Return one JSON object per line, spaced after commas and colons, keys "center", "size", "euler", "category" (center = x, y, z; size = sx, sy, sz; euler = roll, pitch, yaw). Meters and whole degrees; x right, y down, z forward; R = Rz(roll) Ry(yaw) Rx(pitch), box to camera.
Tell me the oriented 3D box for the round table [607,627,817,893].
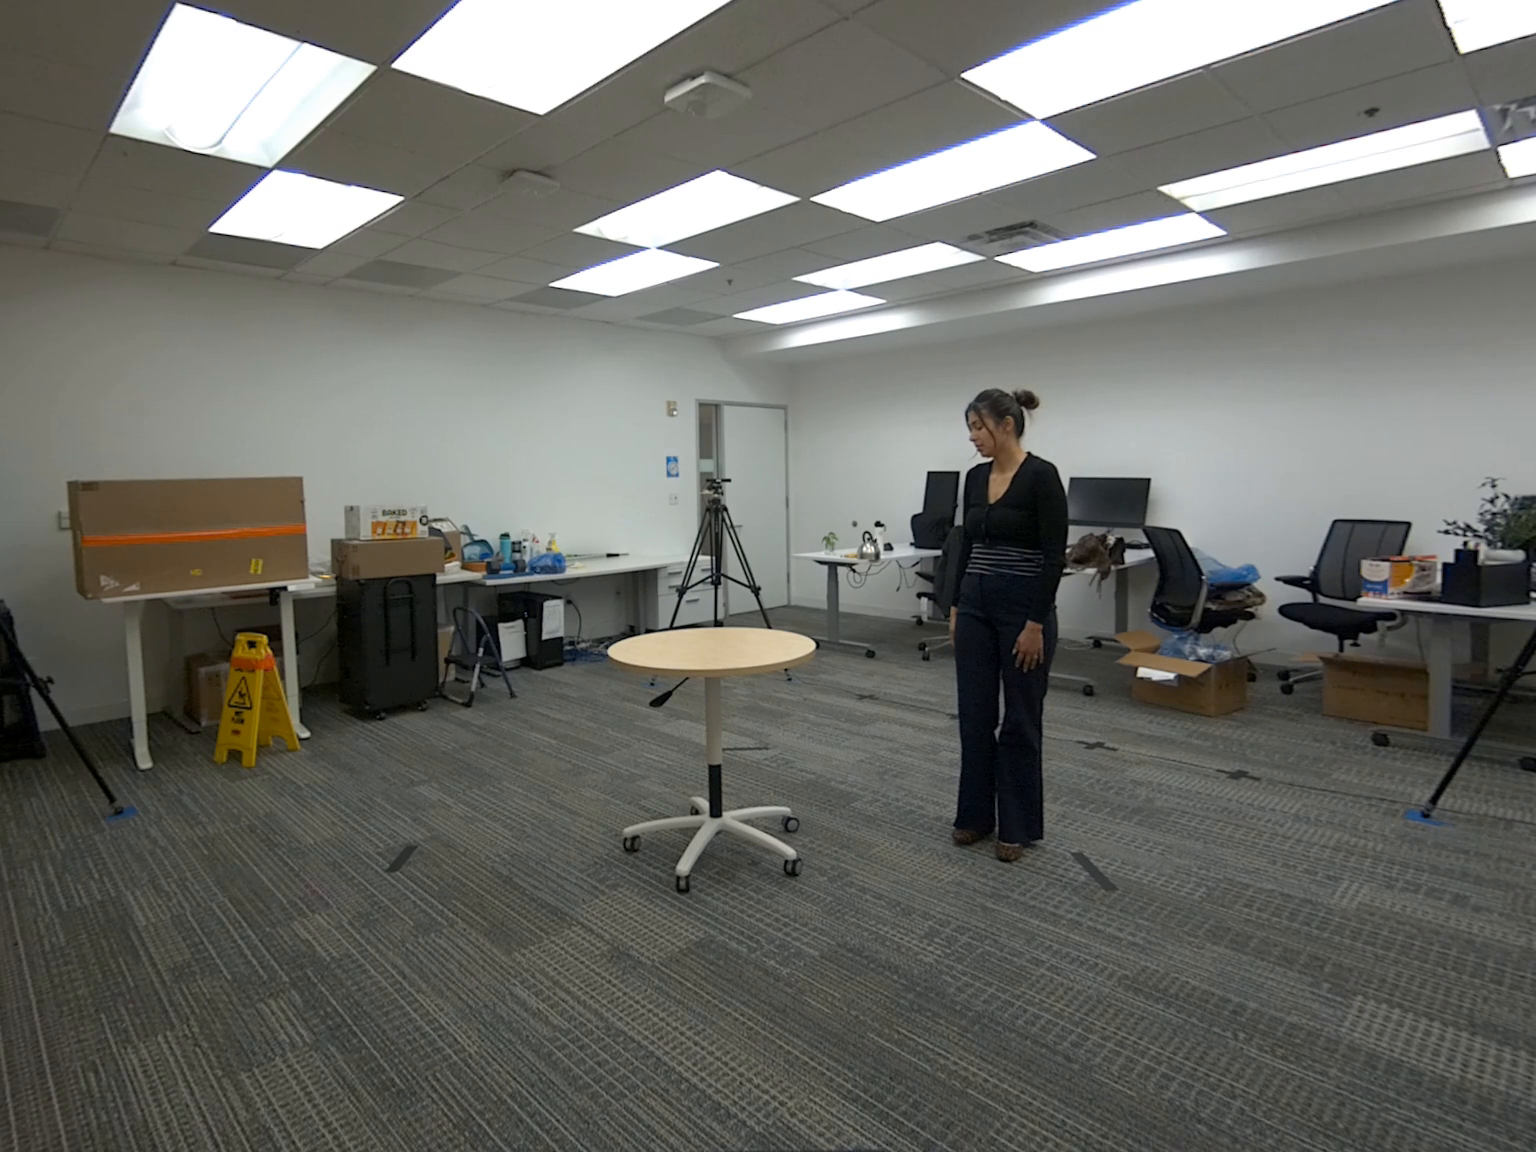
{"center": [-0.192, 0.650, 3.178], "size": [0.763, 0.791, 0.768], "euler": [-2, 5, -2], "category": "round table"}
